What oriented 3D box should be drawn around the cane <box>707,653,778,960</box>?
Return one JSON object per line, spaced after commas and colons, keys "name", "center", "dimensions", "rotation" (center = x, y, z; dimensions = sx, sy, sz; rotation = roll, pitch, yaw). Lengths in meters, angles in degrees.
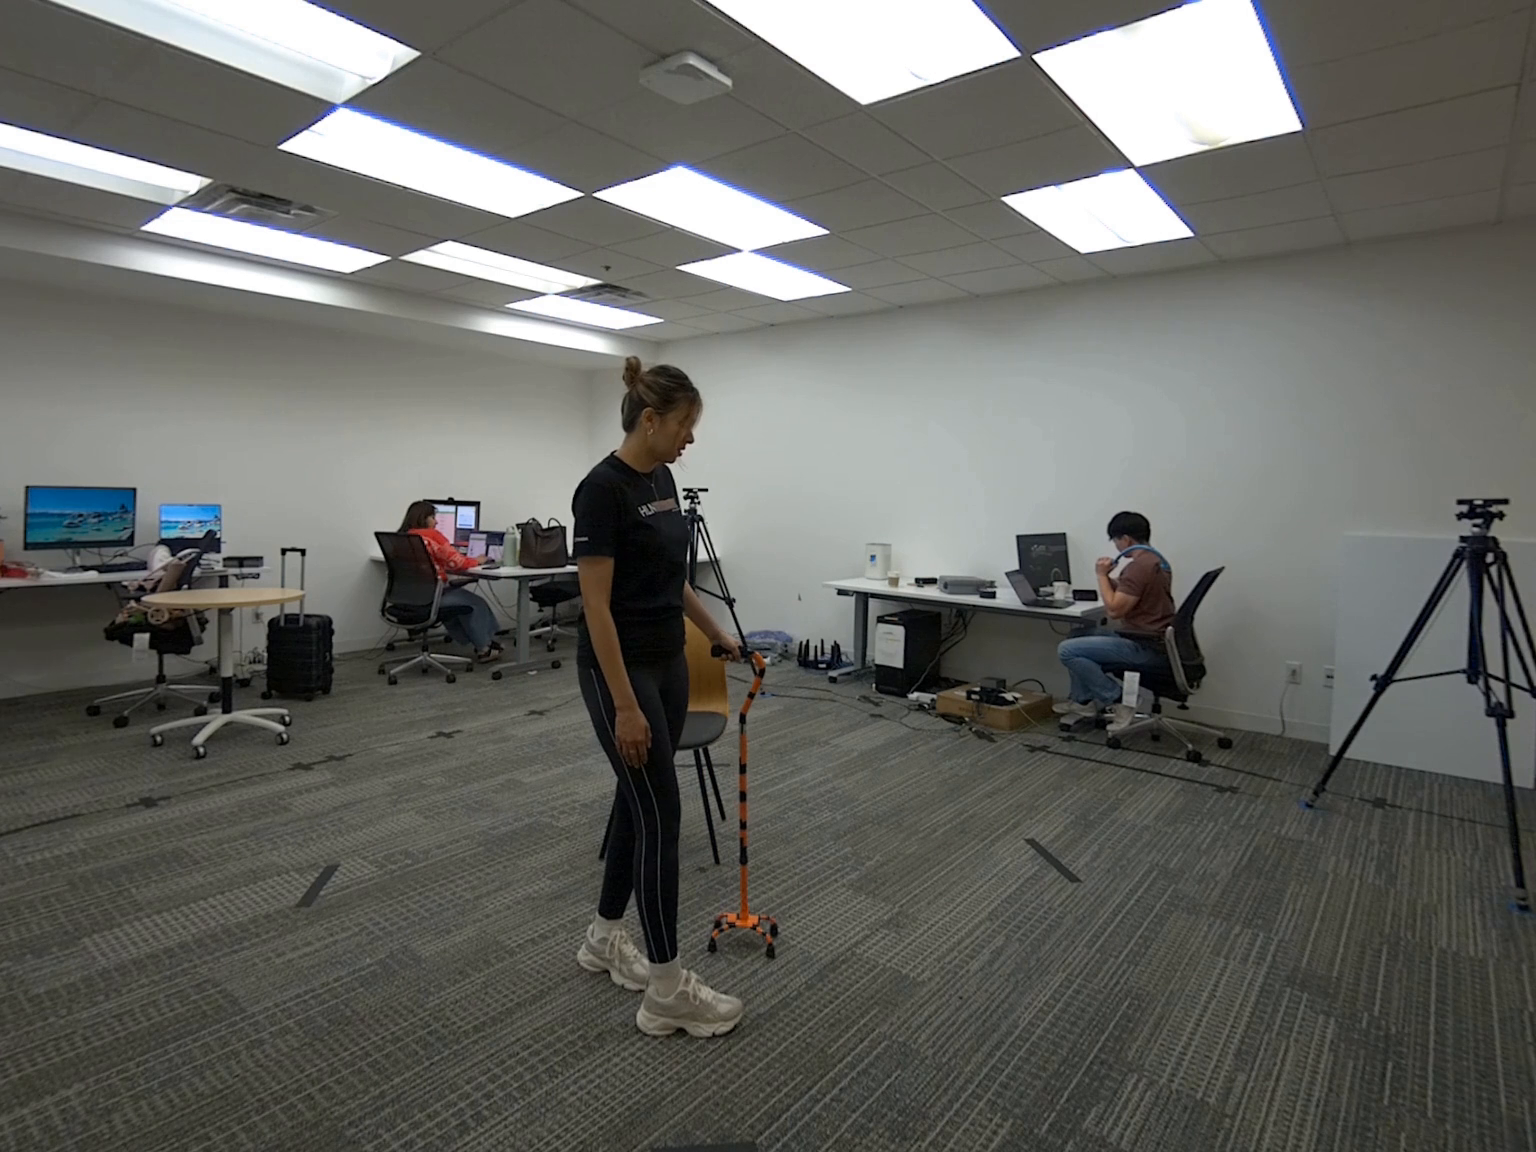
{"name": "cane", "center": [-0.078, 0.664, 2.586], "dimensions": [0.208, 0.906, 0.151], "rotation": [1, 2, 5]}
